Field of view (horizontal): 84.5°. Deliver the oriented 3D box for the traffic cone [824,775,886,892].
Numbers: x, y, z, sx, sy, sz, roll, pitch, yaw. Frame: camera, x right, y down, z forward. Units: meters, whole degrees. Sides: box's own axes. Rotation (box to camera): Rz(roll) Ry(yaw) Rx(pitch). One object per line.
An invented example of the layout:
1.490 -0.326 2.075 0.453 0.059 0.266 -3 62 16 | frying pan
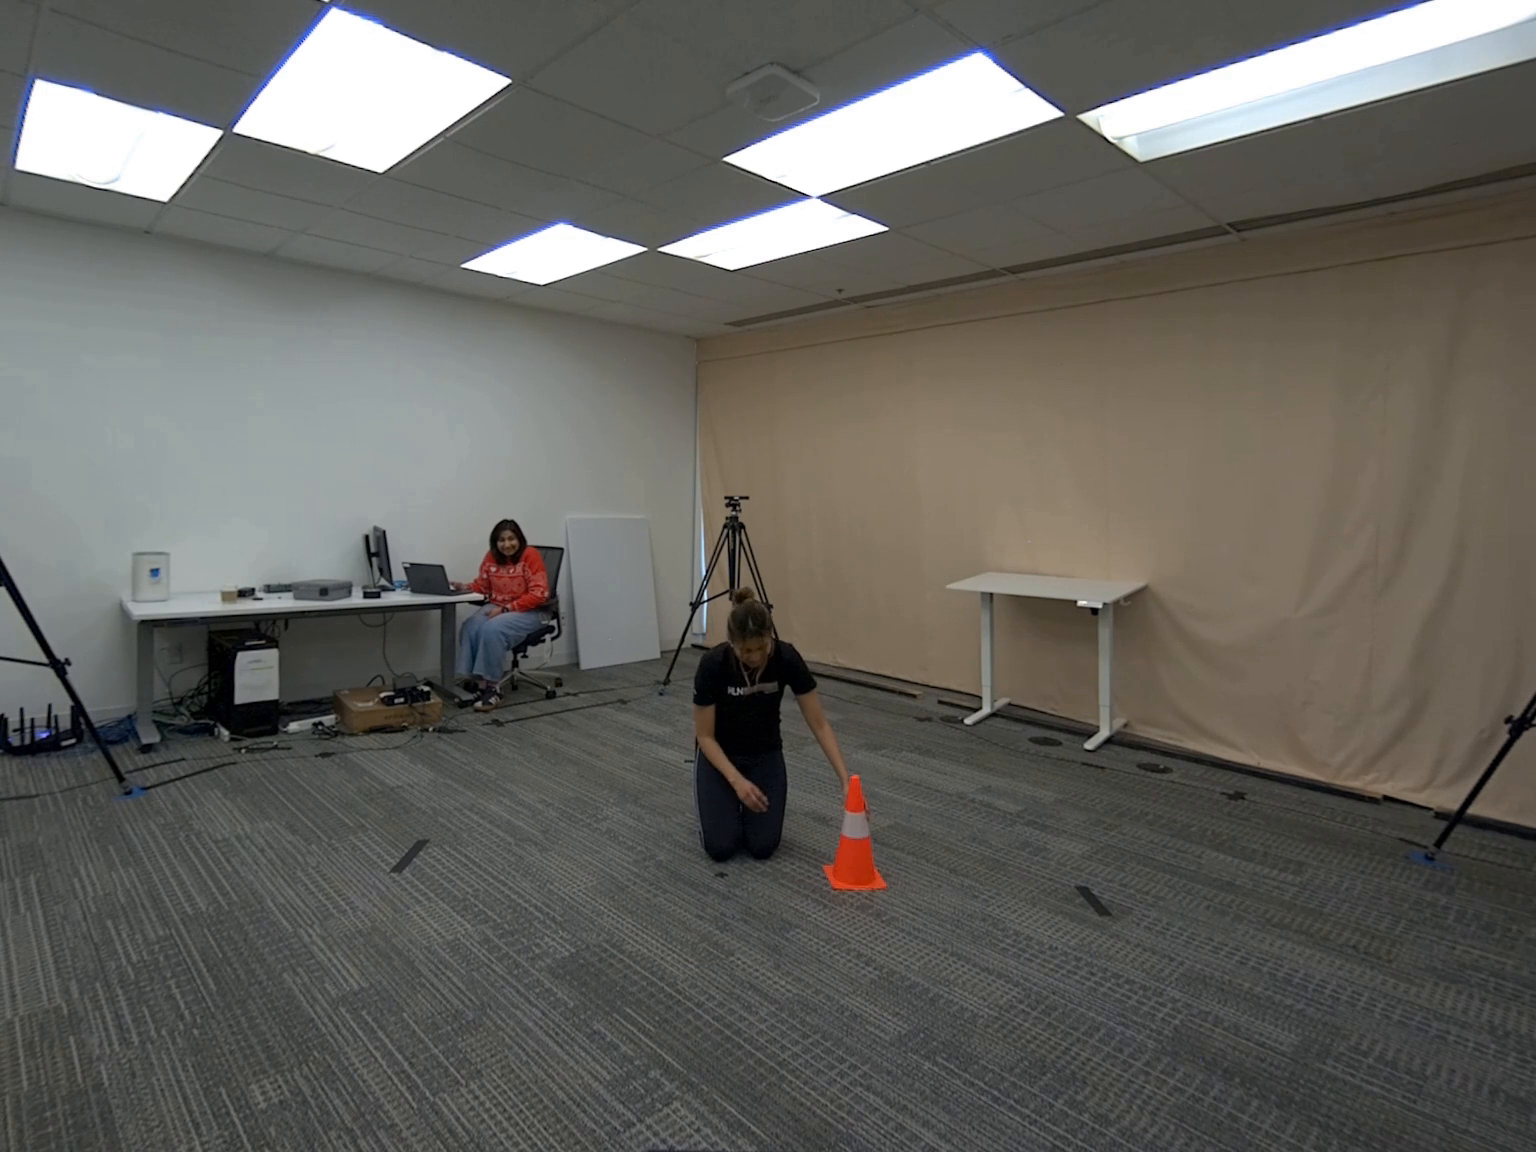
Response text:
0.310 0.925 3.100 0.202 0.383 0.206 0 3 -5 | traffic cone
